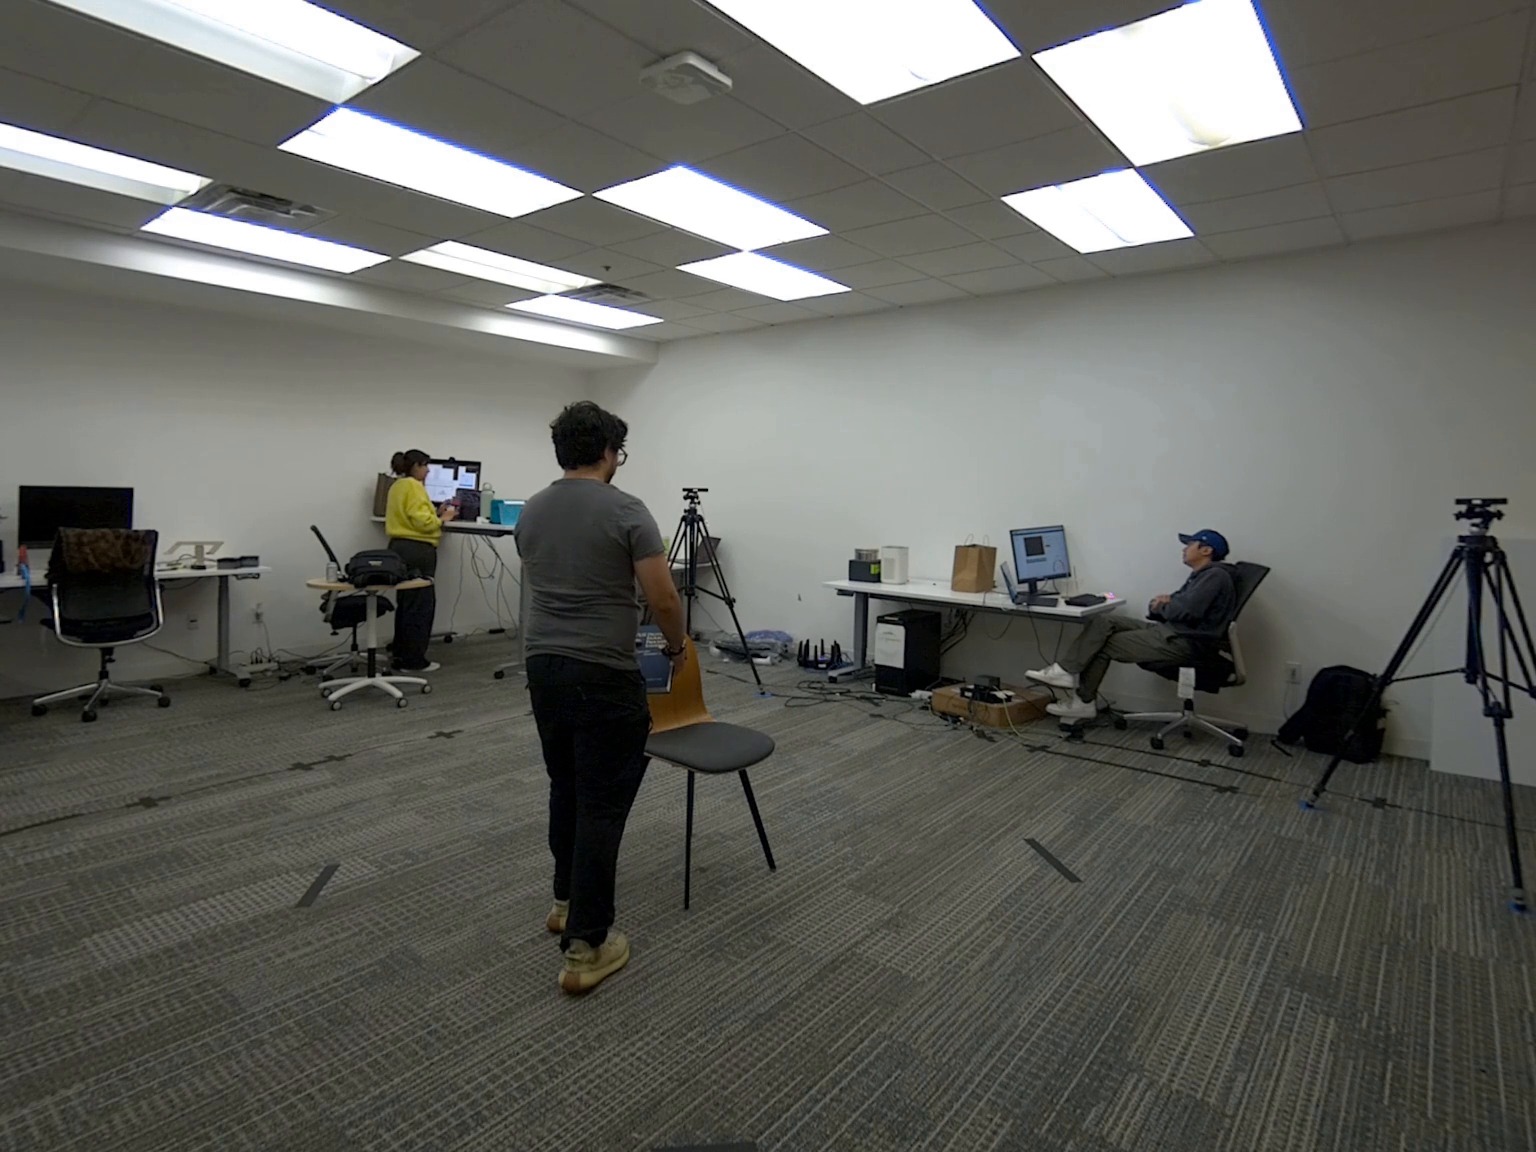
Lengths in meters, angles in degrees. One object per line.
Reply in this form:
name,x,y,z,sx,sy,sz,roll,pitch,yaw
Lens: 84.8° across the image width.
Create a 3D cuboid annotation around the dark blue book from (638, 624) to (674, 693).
dark blue book,-0.394,0.271,2.812,0.165,0.251,0.043,-5,-42,13
